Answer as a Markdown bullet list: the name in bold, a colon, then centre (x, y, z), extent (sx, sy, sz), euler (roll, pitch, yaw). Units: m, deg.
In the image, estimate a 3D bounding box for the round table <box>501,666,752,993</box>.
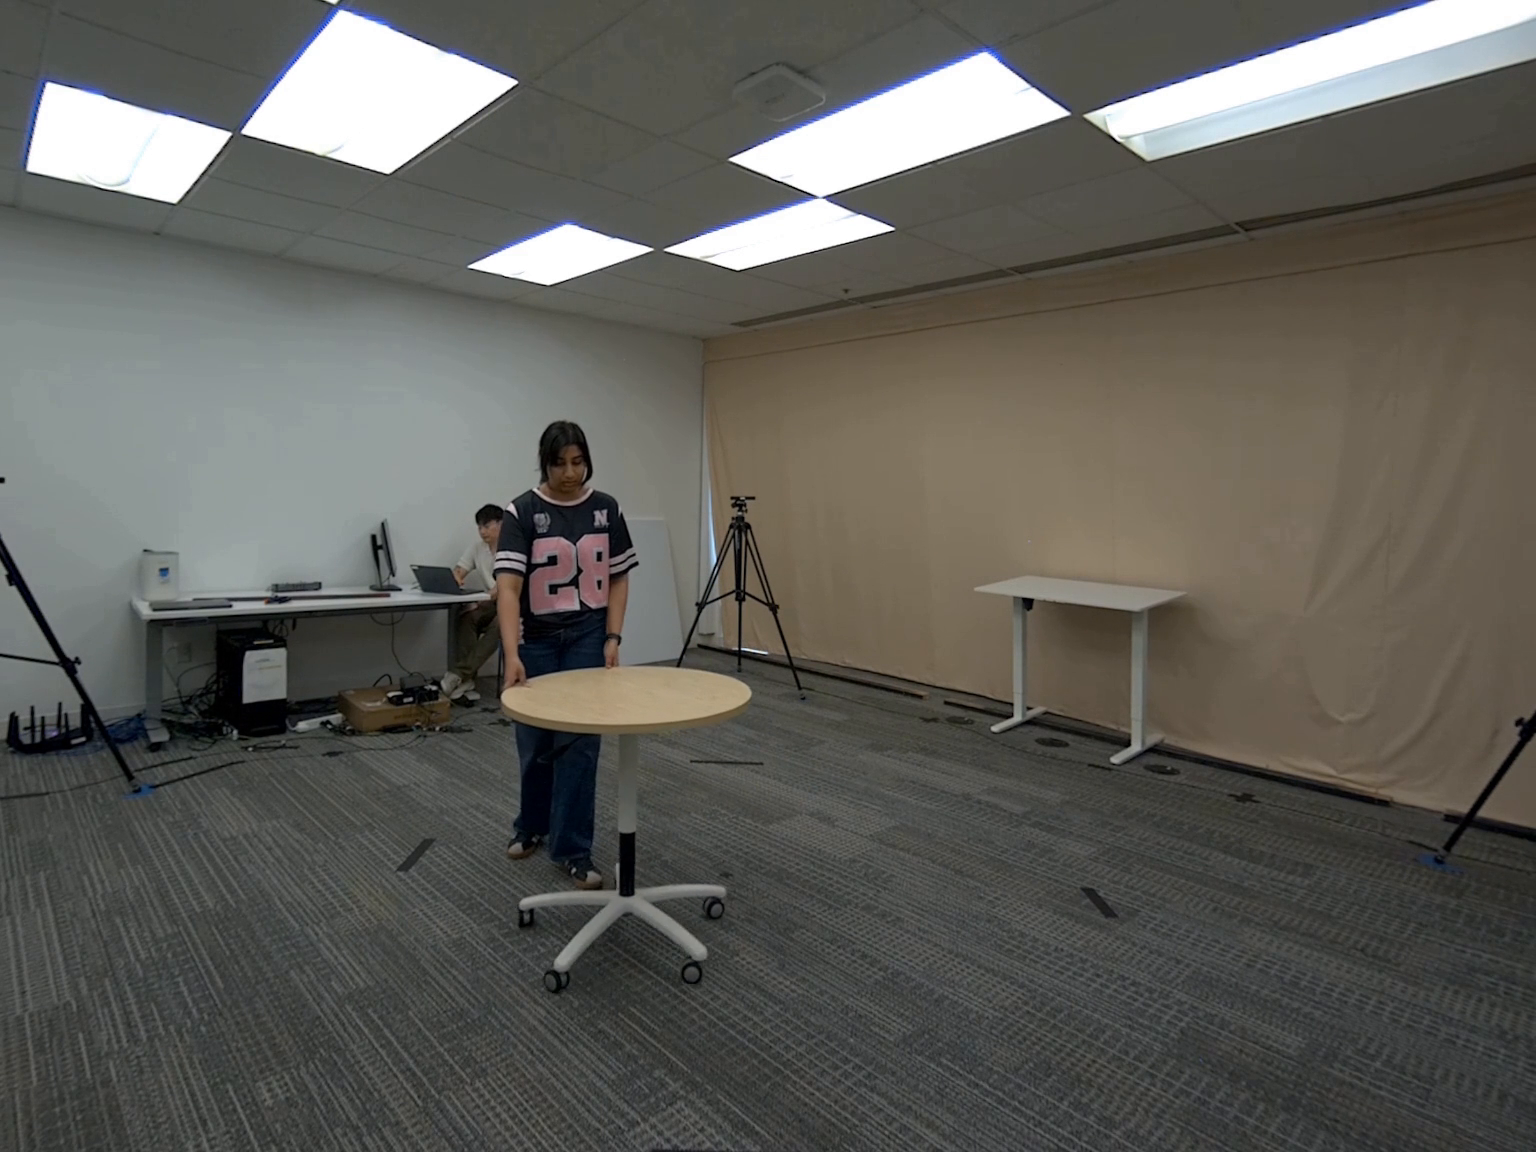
- **round table**: centre (-0.430, 0.748, 2.634), extent (0.784, 0.784, 0.788), euler (1, 4, -1)
